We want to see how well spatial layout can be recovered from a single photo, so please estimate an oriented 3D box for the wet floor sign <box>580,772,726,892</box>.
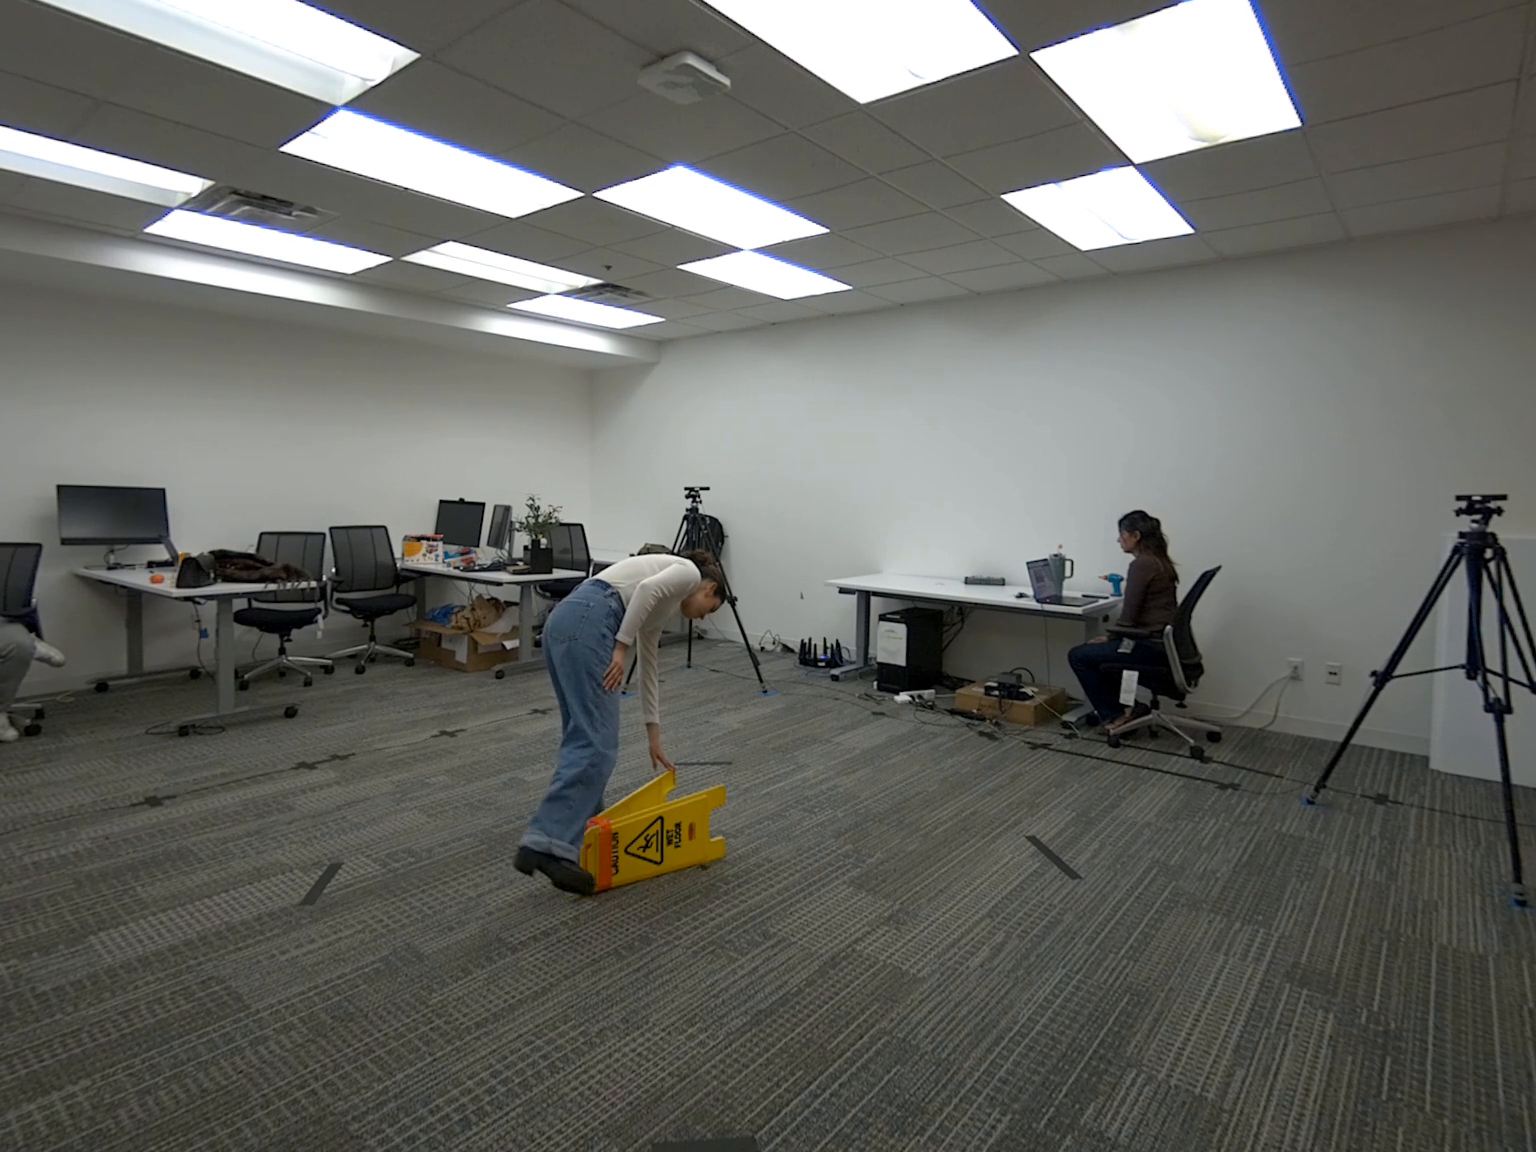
[{"bbox_3d":[-0.472,0.938,3.055,0.299,0.281,0.628,4,8,40],"label":"wet floor sign"}]
